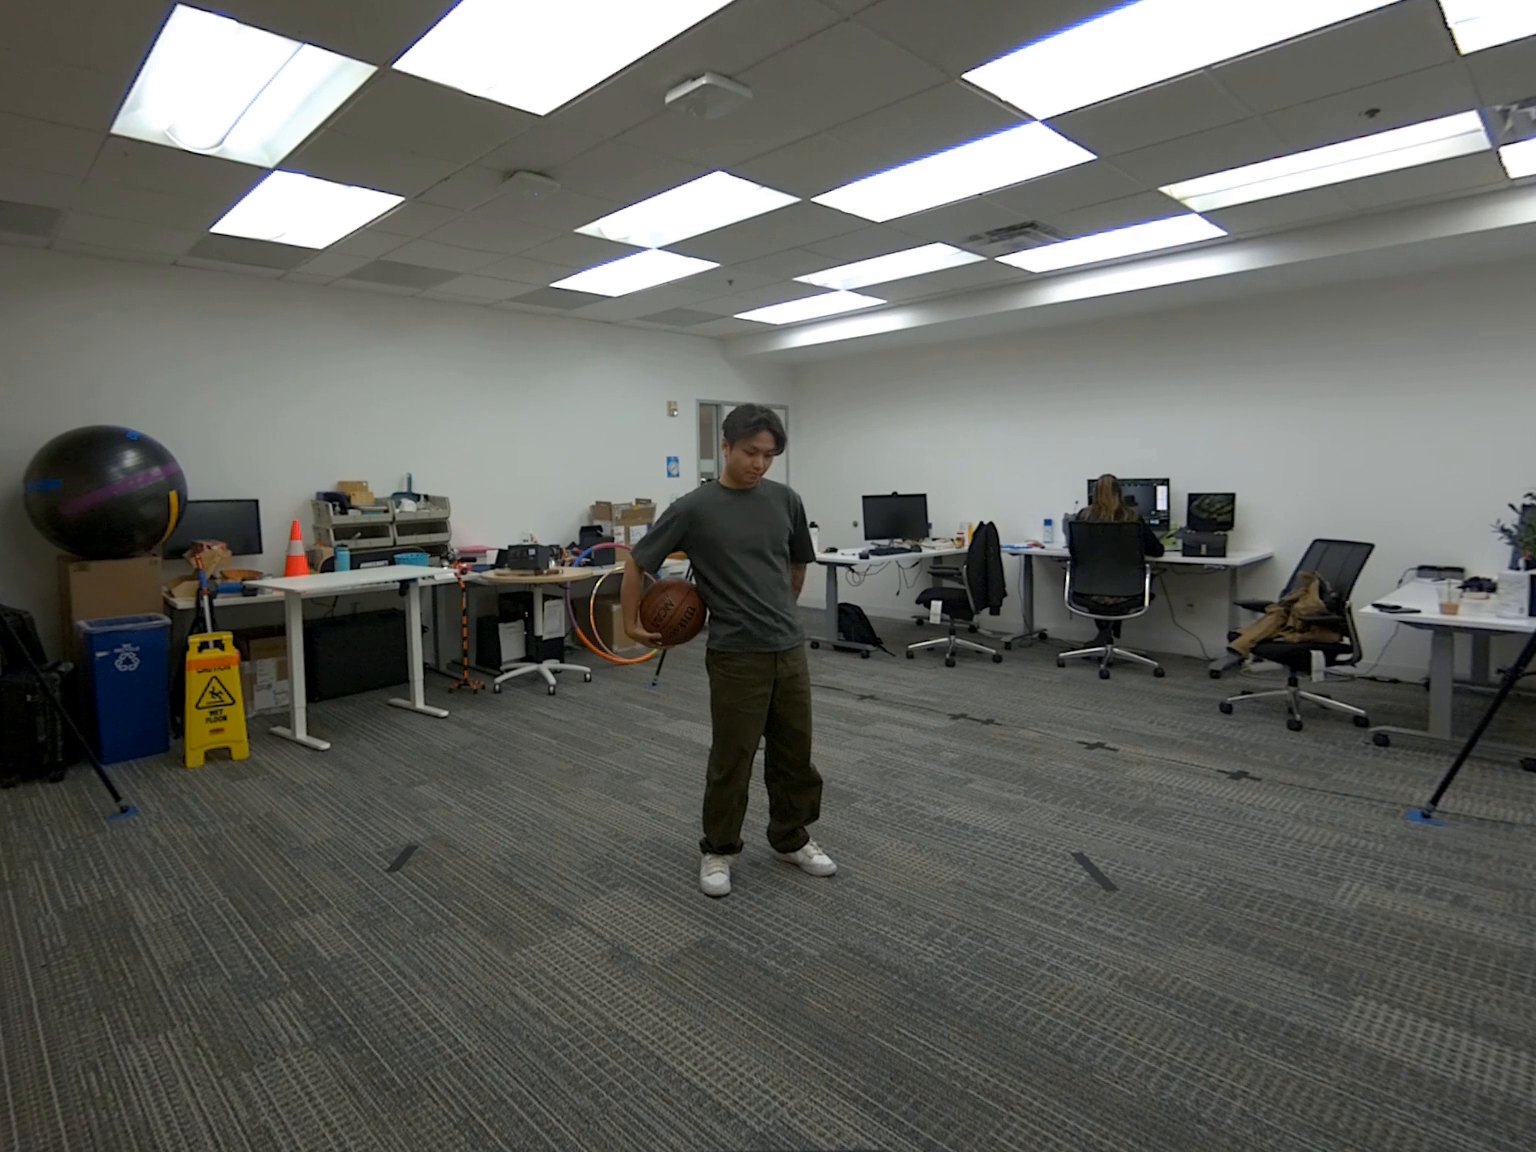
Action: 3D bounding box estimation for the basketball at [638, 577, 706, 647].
[{"bbox_3d":[-0.310,0.119,2.993,0.236,0.235,0.237,-1,5,-2],"label":"basketball"}]
